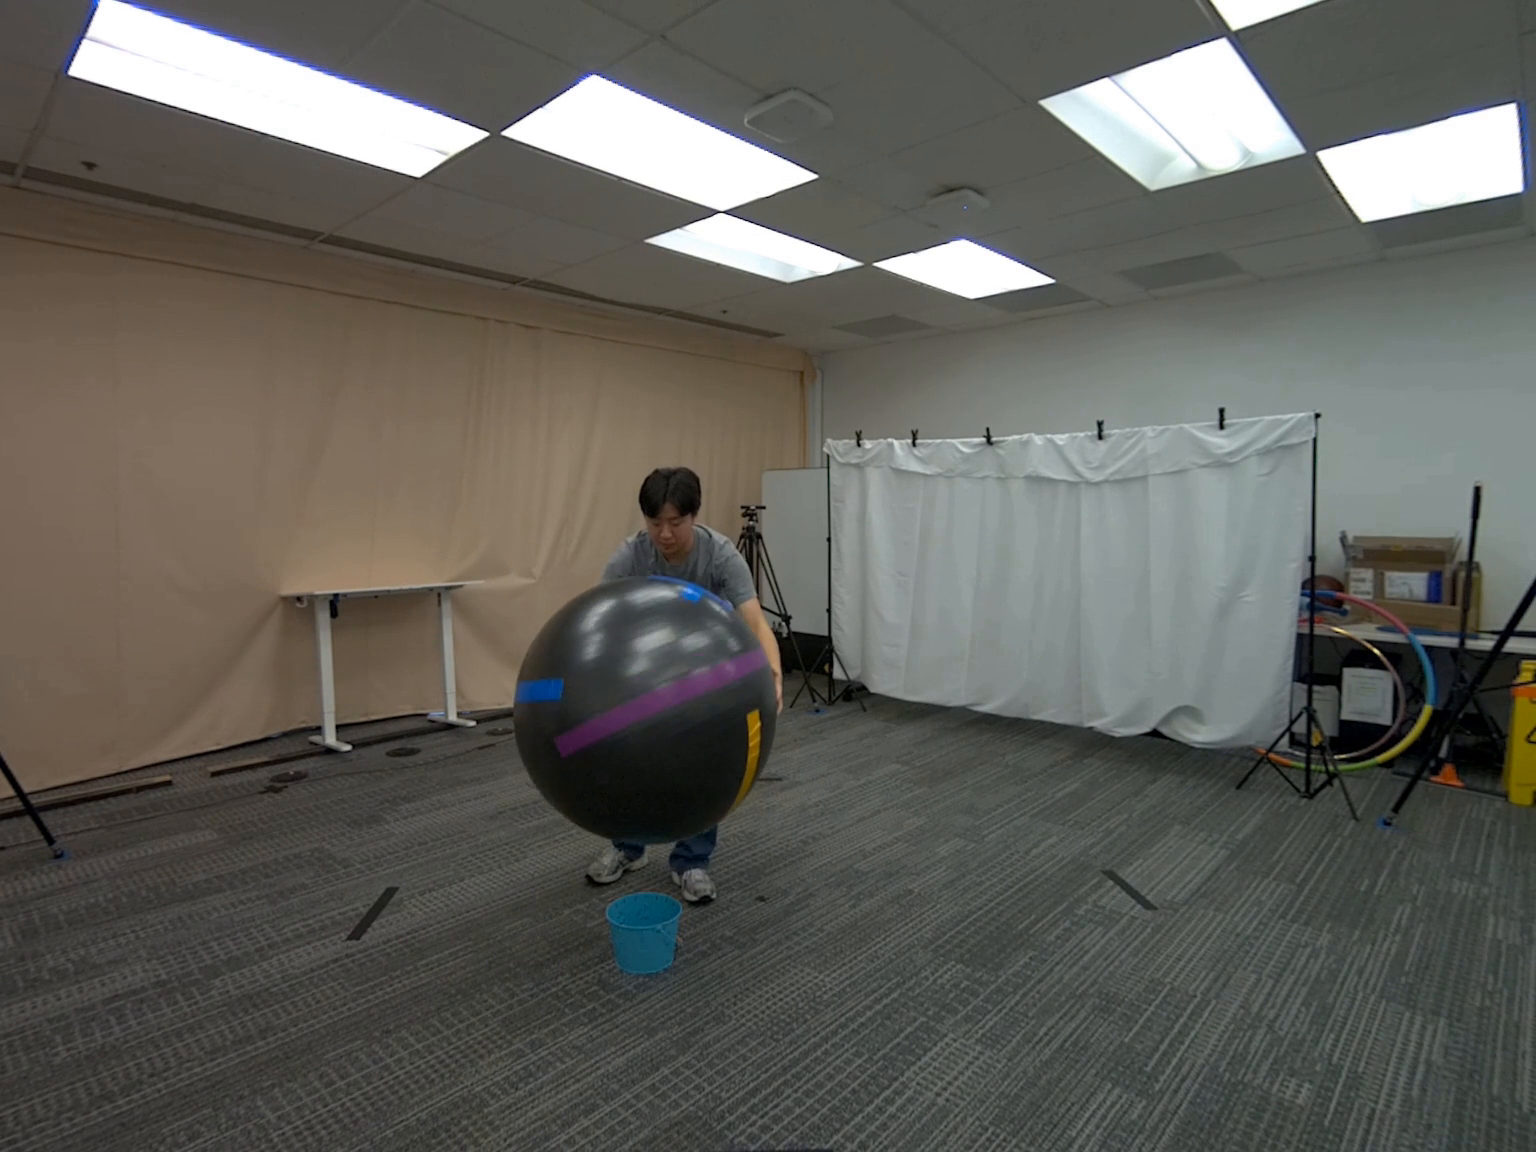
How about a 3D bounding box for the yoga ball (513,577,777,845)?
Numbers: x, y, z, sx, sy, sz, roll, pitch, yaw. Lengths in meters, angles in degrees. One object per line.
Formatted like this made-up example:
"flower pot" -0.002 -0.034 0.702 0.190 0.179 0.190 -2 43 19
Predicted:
"yoga ball" -0.358 0.378 2.443 0.757 0.756 0.761 0 4 -2
